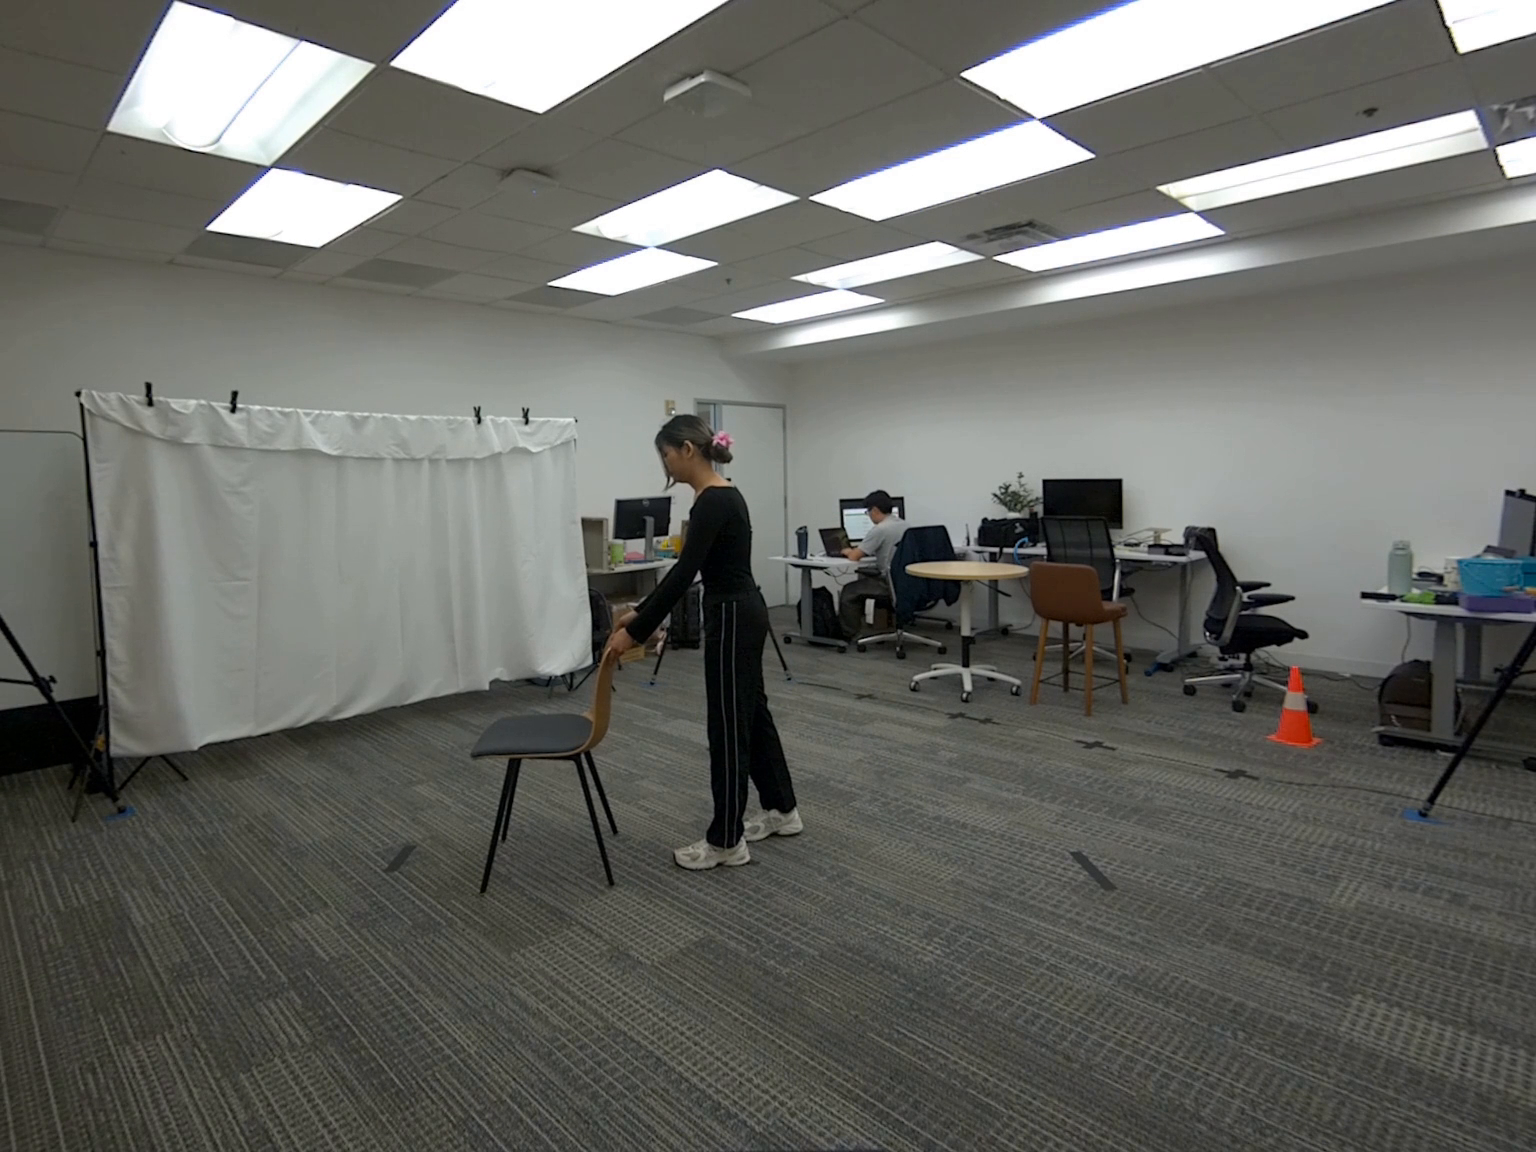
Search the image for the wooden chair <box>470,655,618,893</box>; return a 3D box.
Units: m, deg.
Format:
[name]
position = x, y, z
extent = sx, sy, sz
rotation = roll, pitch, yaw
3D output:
[wooden chair]
position = -0.797, 0.625, 3.108
extent = 0.520, 0.874, 0.483
rotation = 3, 4, -7
